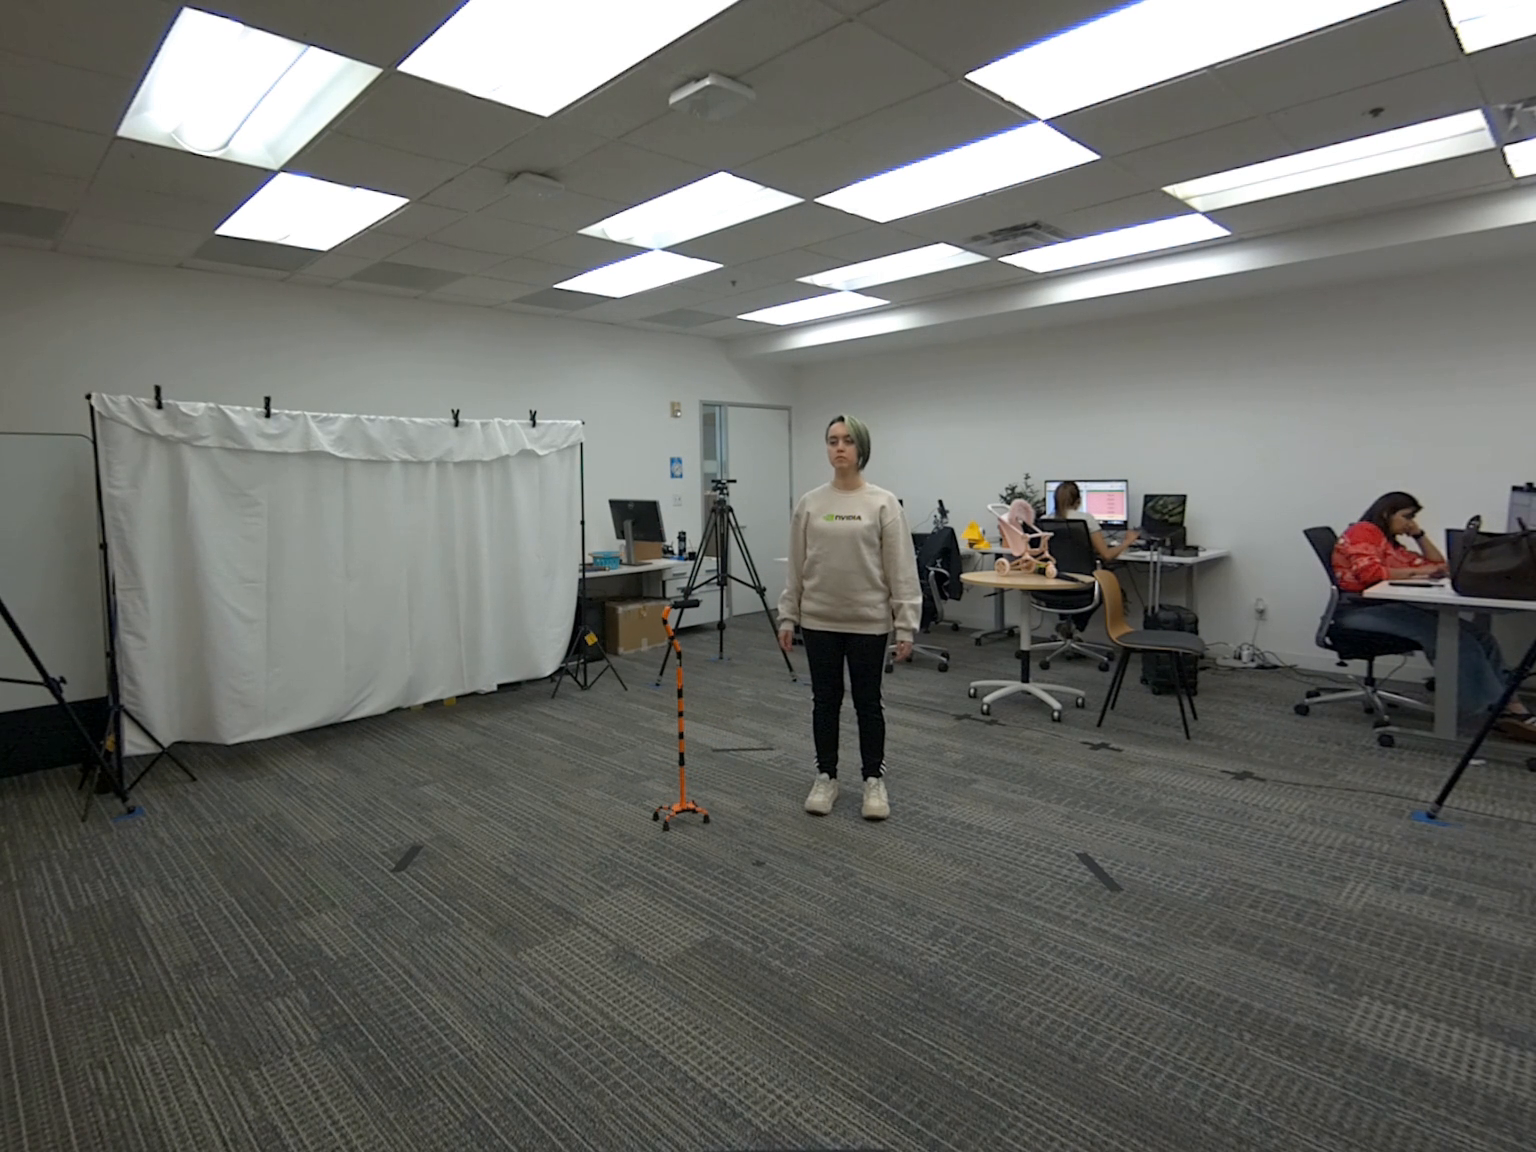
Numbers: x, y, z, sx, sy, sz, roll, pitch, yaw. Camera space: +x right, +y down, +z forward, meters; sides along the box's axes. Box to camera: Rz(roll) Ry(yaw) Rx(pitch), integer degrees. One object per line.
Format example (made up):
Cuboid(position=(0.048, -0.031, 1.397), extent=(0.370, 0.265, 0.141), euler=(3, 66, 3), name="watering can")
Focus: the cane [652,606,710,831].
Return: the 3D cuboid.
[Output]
Cuboid(position=(-0.364, 0.556, 3.498), extent=(0.202, 0.905, 0.155), euler=(-2, 3, -27), name="cane")
